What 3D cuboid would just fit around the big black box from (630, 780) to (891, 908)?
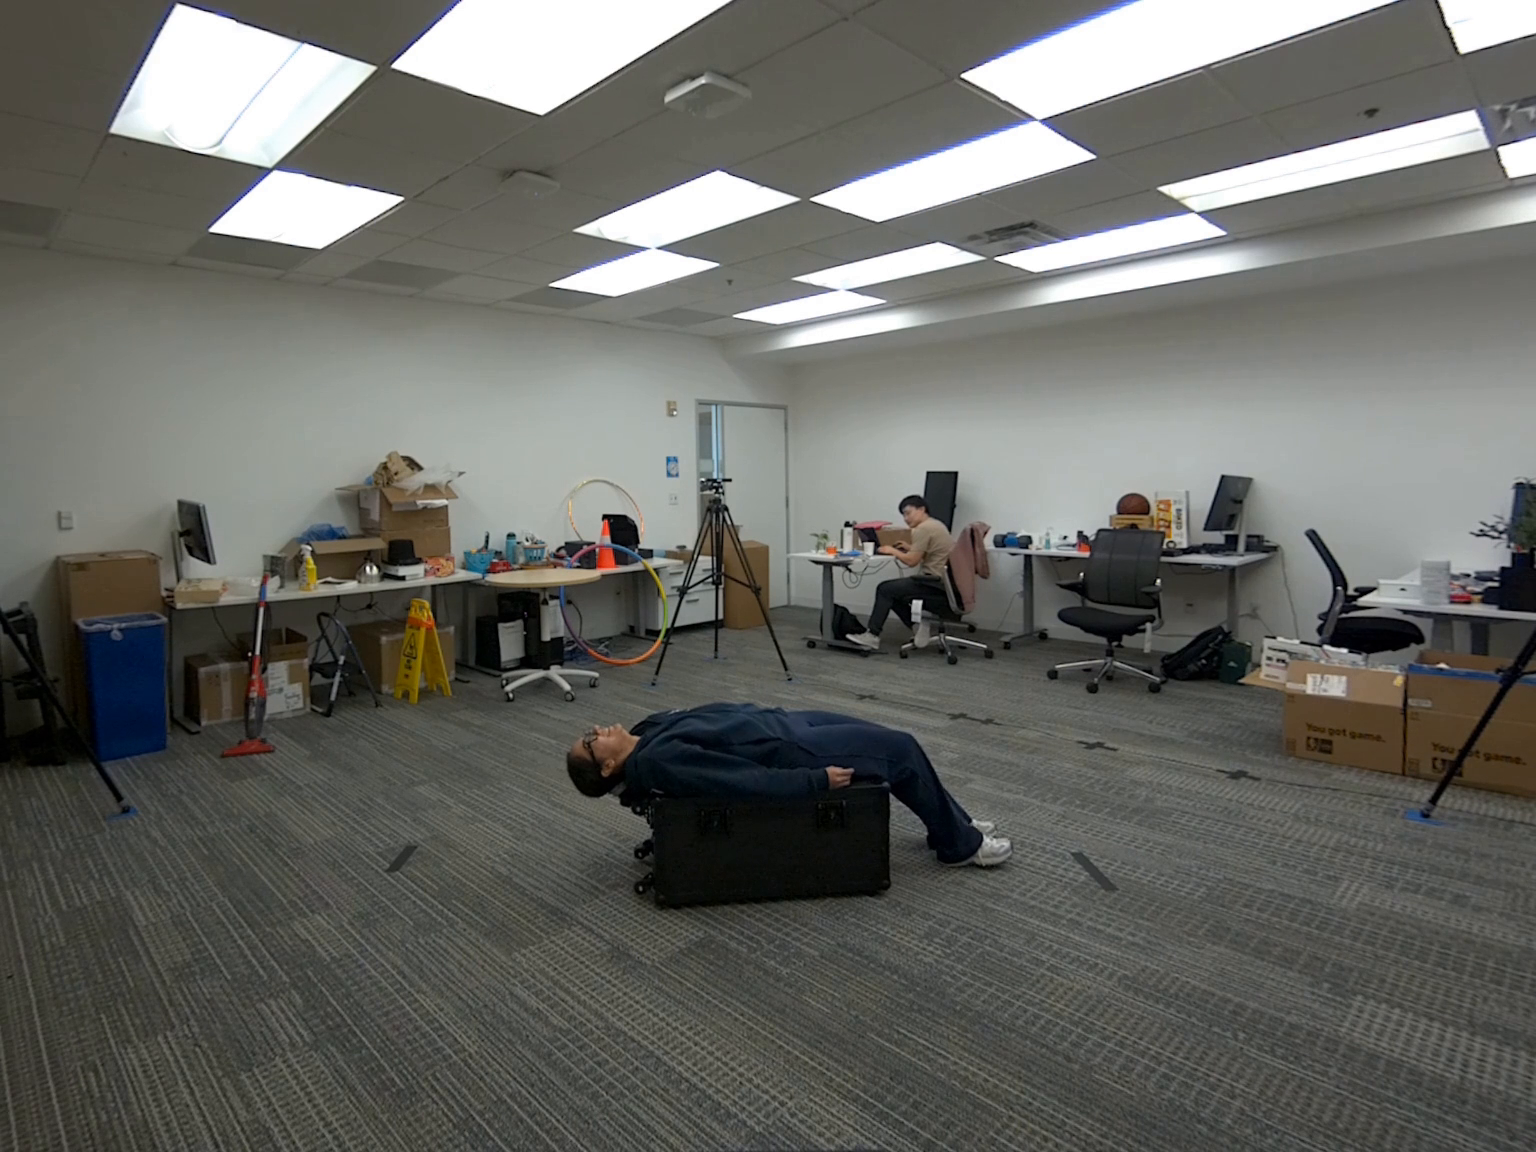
[{"bbox_3d":[-0.055,0.863,3.027,0.856,0.394,0.527,-1,7,-7],"label":"big black box"}]
